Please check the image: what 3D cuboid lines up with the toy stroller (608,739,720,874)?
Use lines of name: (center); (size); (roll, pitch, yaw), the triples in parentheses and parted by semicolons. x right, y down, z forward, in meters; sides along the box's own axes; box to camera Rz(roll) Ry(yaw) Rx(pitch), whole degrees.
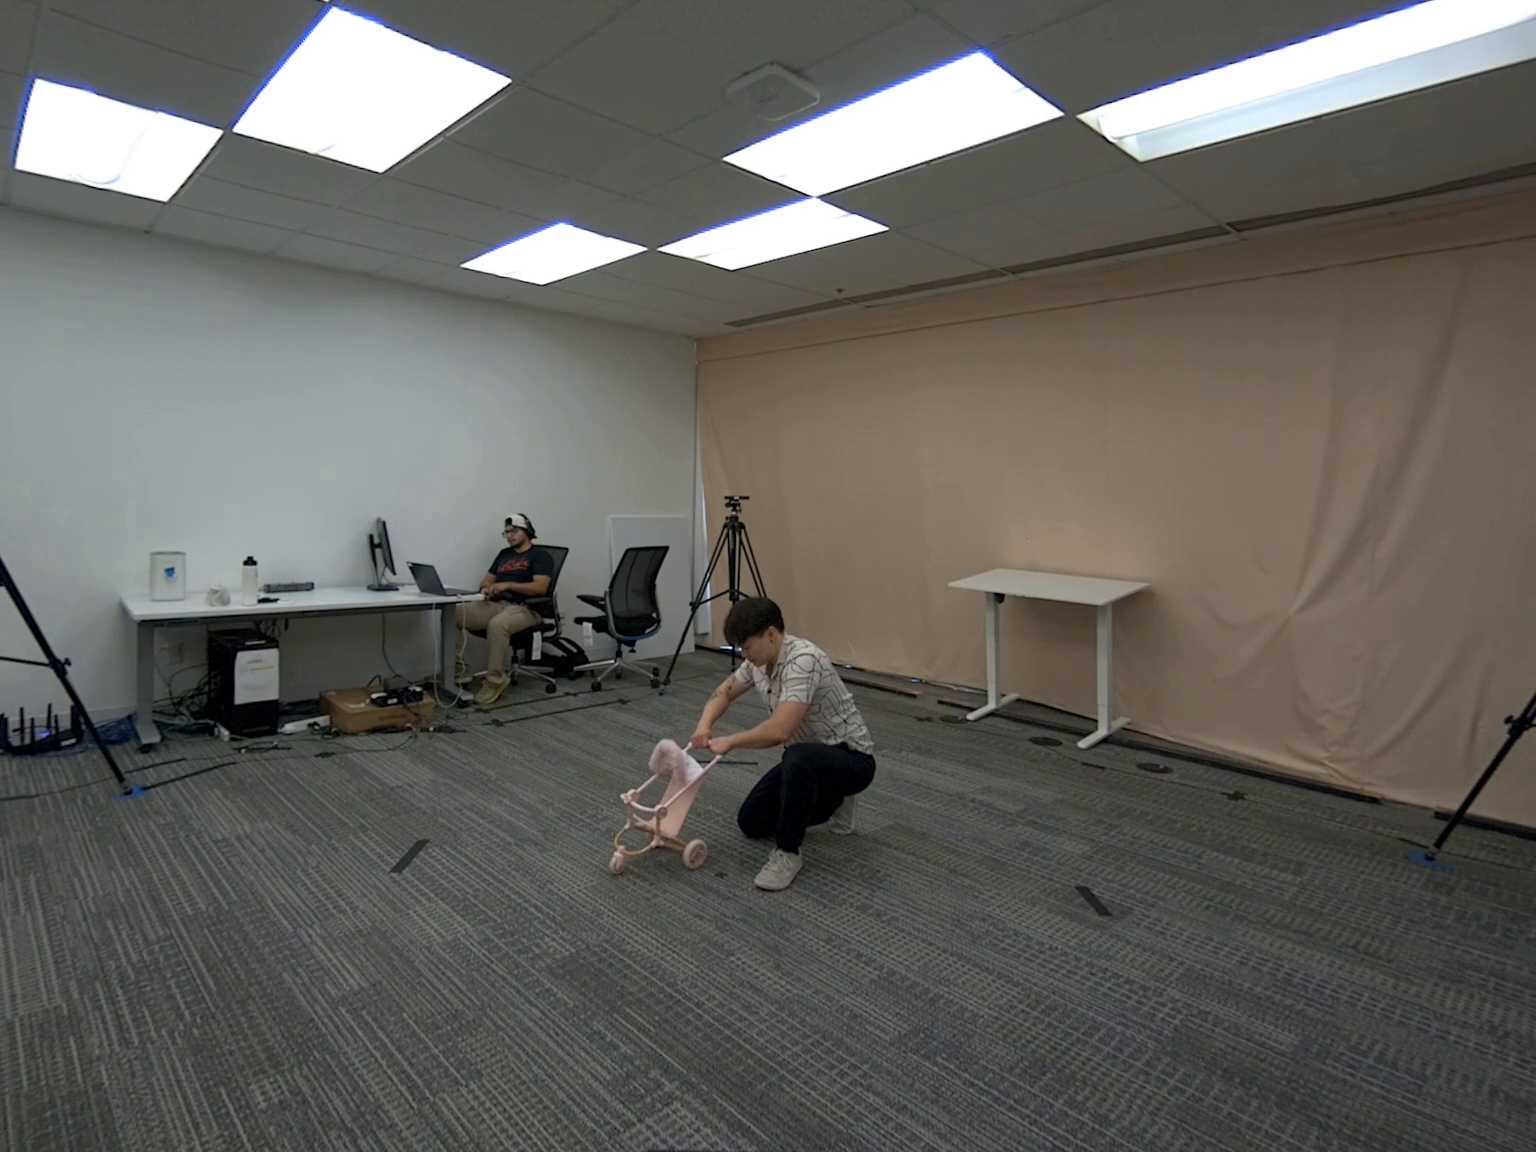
toy stroller: (-0.402, 0.859, 3.199); (0.332, 0.536, 0.288); (18, -6, -35)
